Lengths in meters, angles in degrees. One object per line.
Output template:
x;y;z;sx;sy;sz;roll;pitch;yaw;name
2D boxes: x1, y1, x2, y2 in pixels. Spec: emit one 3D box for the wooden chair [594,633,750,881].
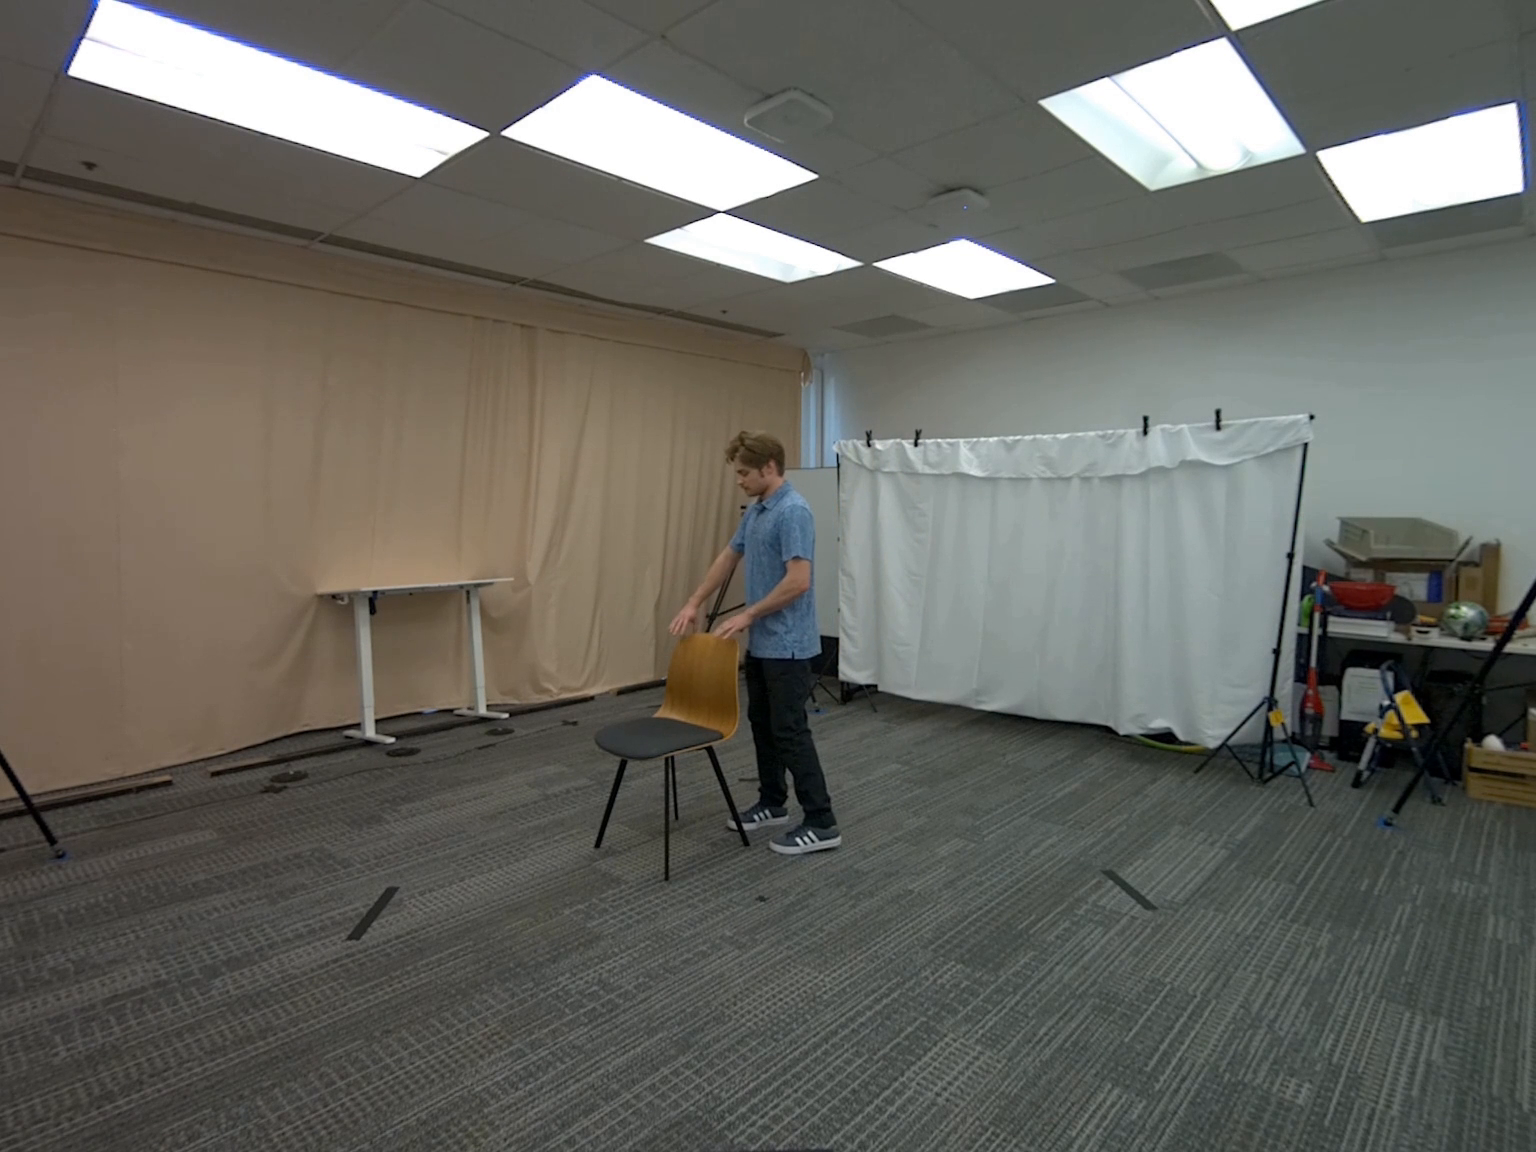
-0.401;0.685;3.405;0.494;0.877;0.506;2;0;44;wooden chair
